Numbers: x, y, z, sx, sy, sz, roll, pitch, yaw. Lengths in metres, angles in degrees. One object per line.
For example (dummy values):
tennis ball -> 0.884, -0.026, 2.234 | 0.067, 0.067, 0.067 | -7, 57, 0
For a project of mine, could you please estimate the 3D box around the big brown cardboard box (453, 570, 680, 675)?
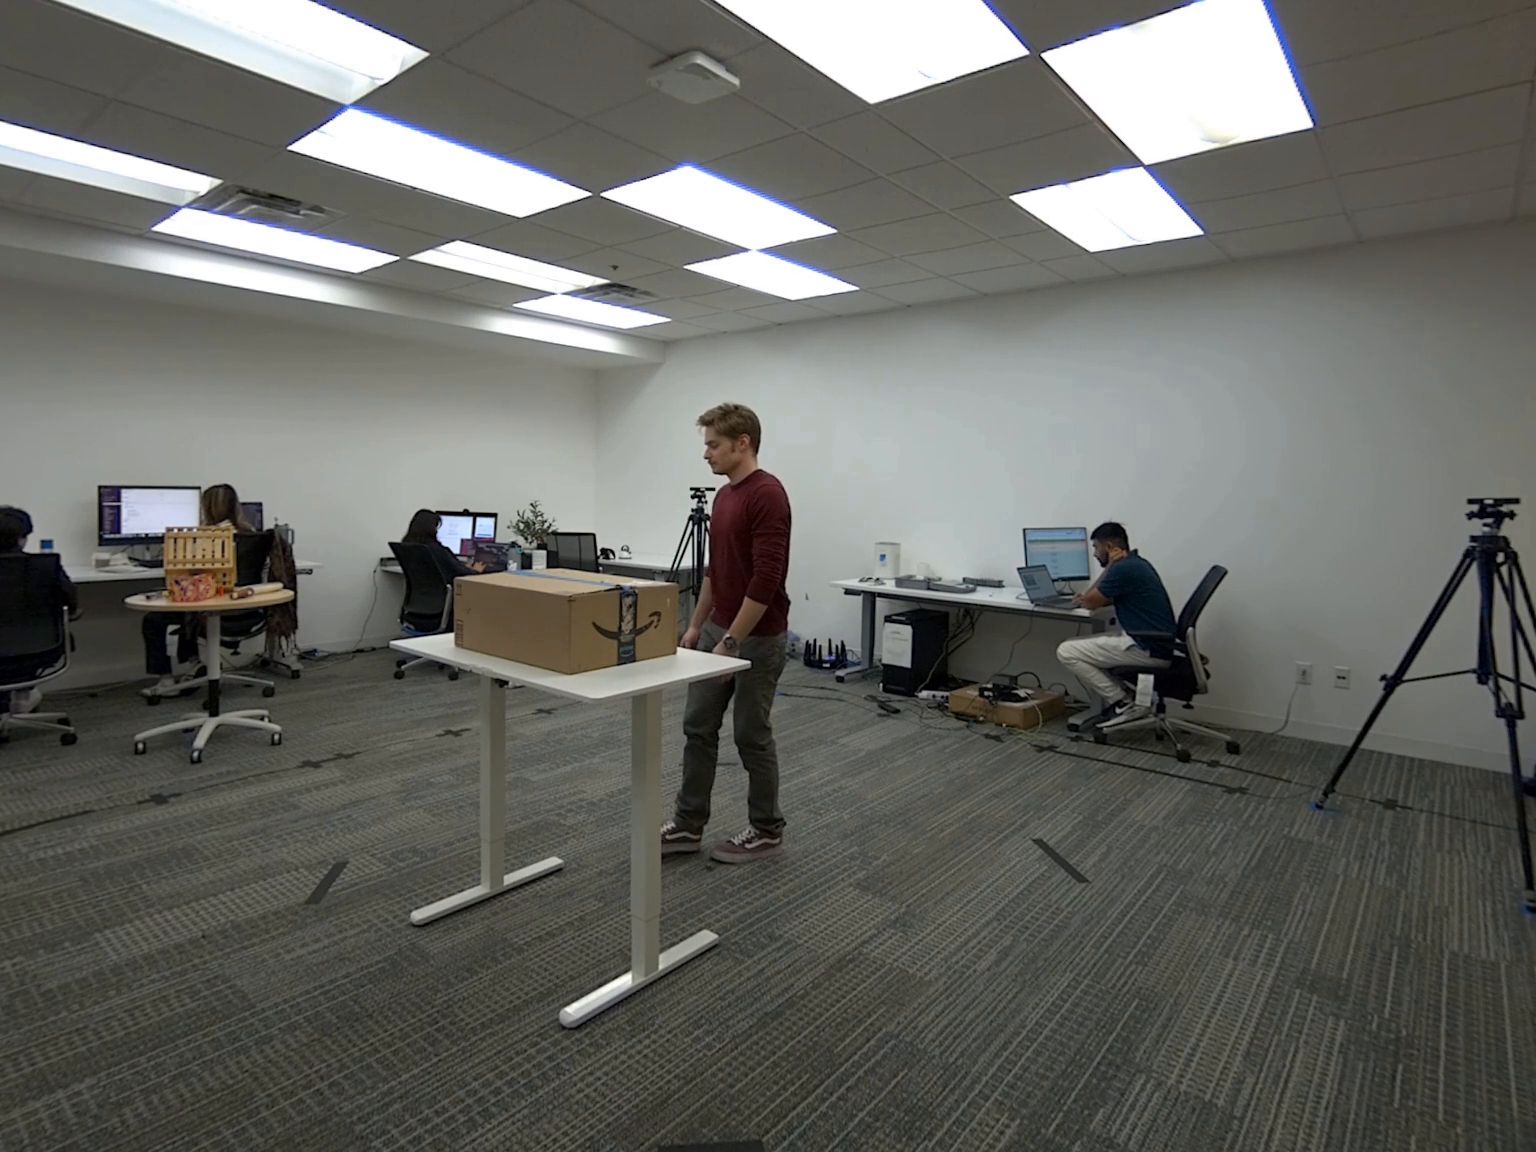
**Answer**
big brown cardboard box -> -0.624, 0.117, 2.606 | 0.609, 0.232, 0.405 | 5, 7, 40
